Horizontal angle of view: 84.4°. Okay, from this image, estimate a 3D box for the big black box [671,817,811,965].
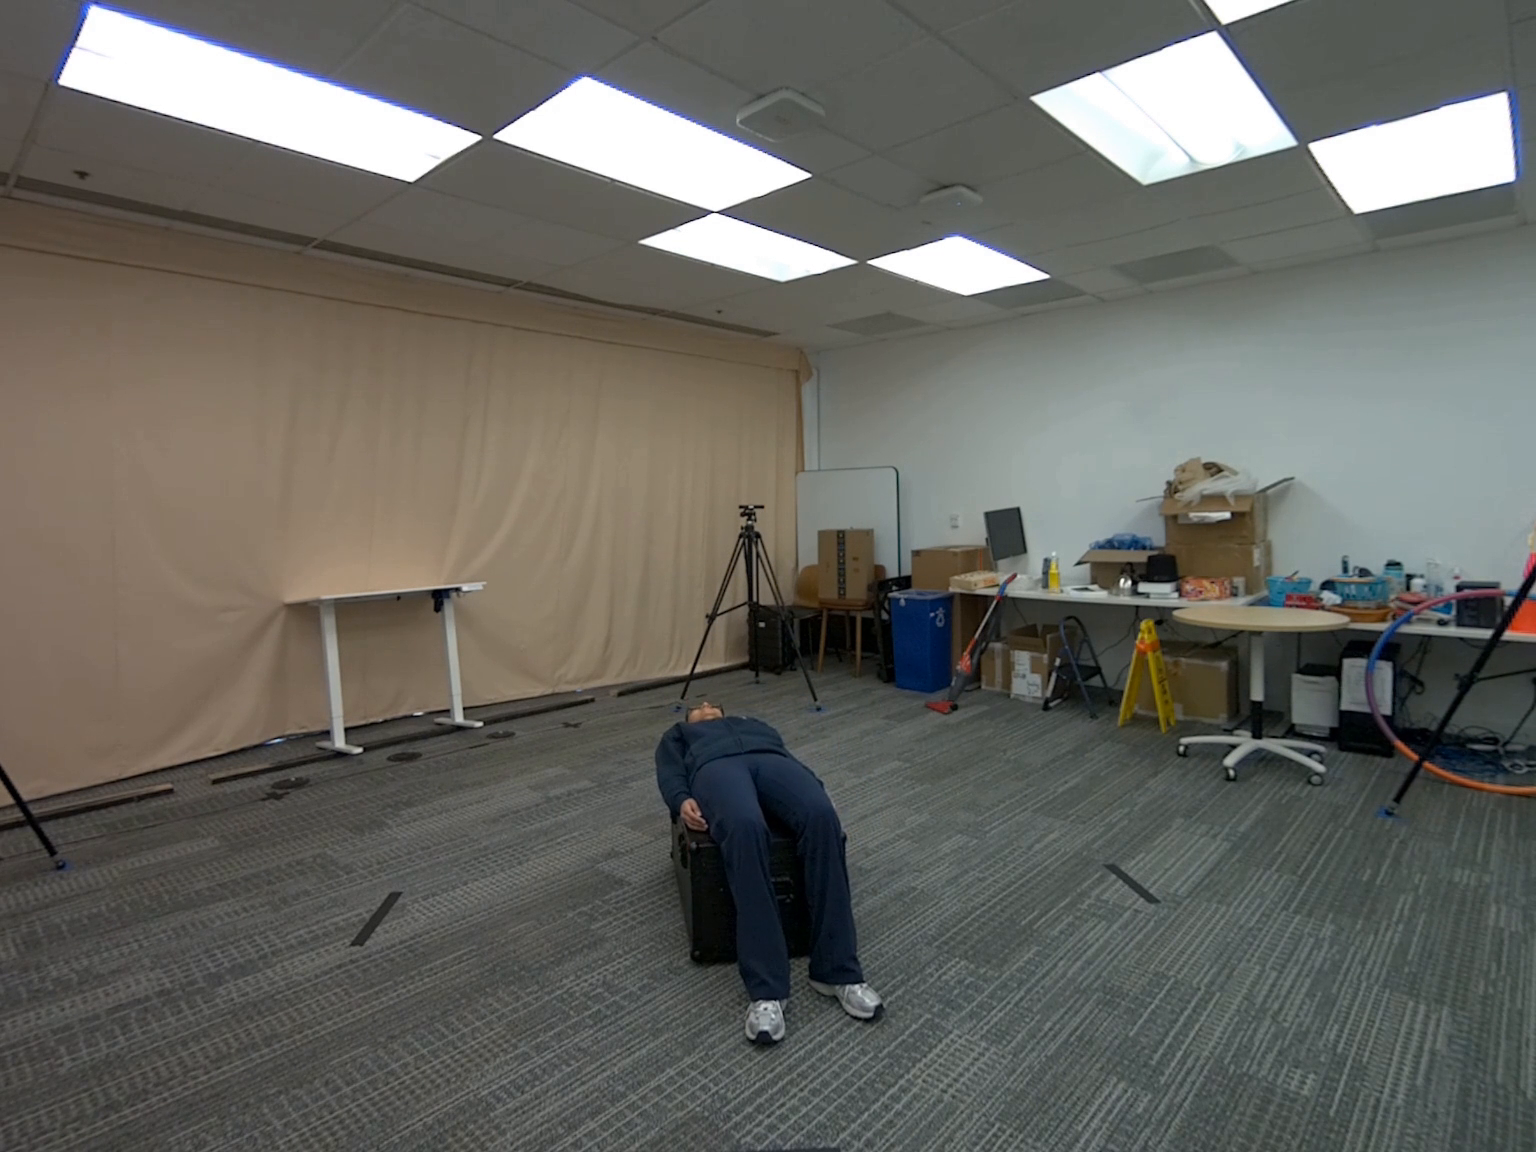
[{"bbox_3d":[-0.074,0.954,2.974,0.516,0.395,0.872,-4,5,-10],"label":"big black box"}]
